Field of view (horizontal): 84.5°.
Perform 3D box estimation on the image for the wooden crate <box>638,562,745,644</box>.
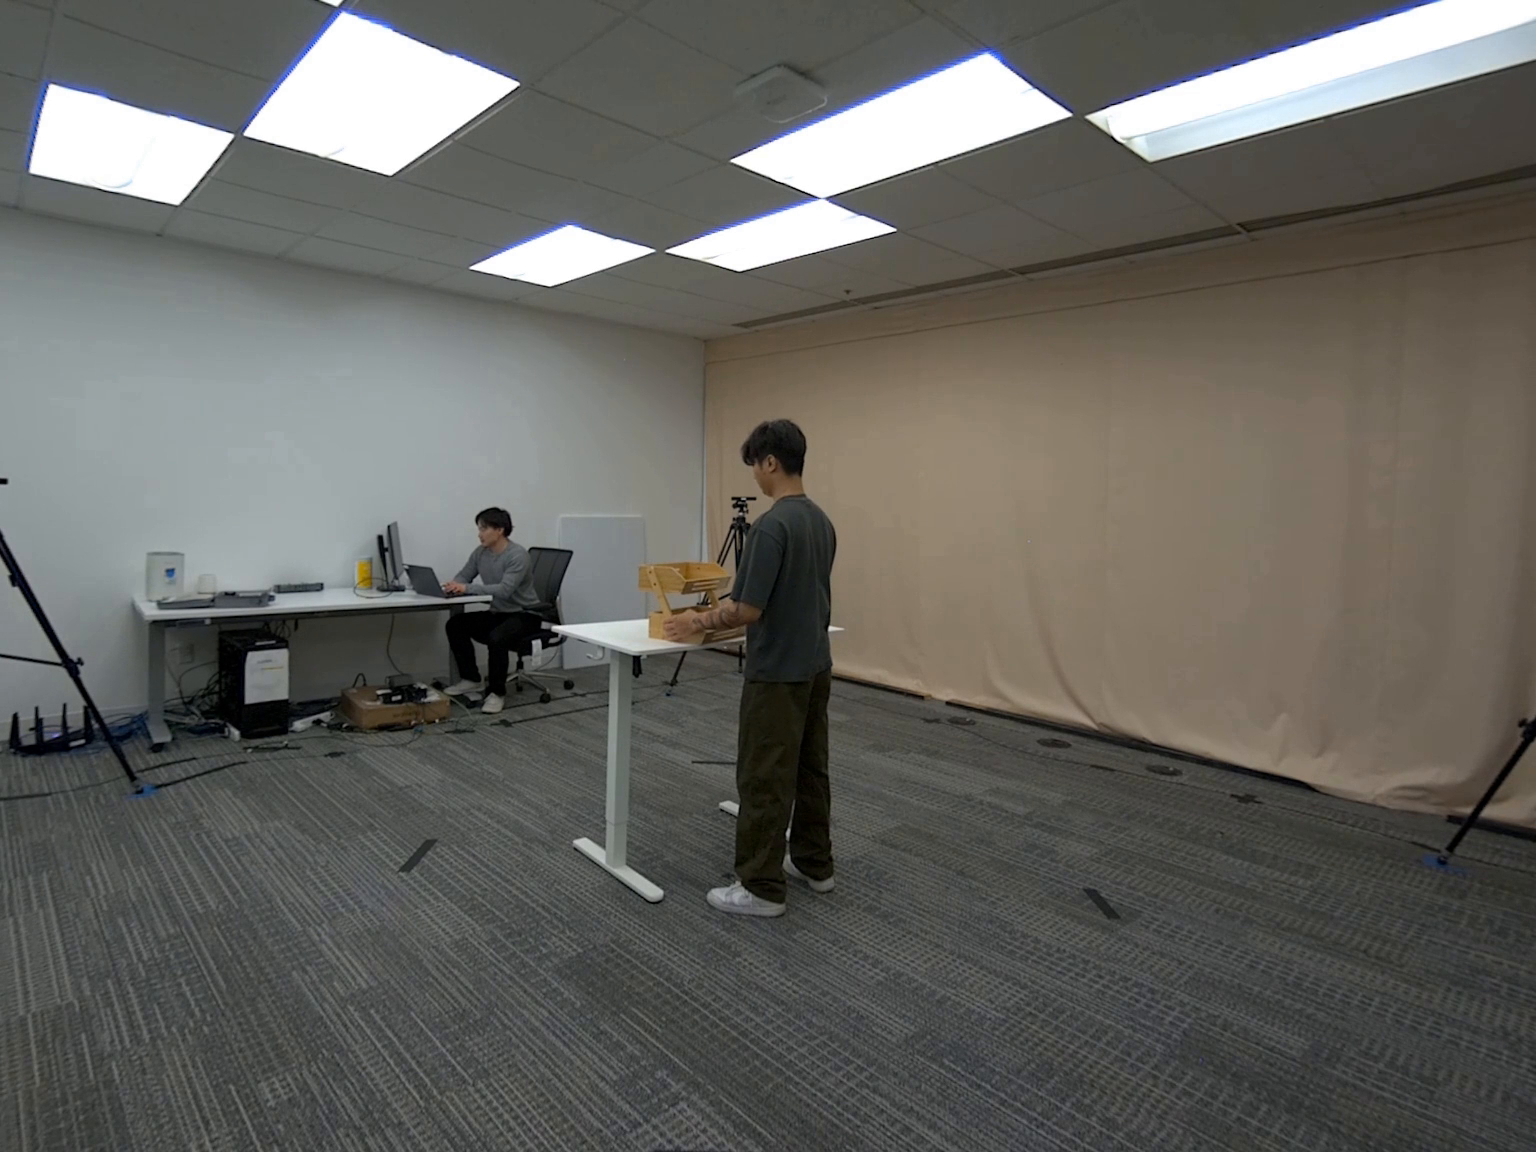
[{"bbox_3d":[-0.270,0.089,3.103,0.309,0.273,0.318,4,4,31],"label":"wooden crate"}]
